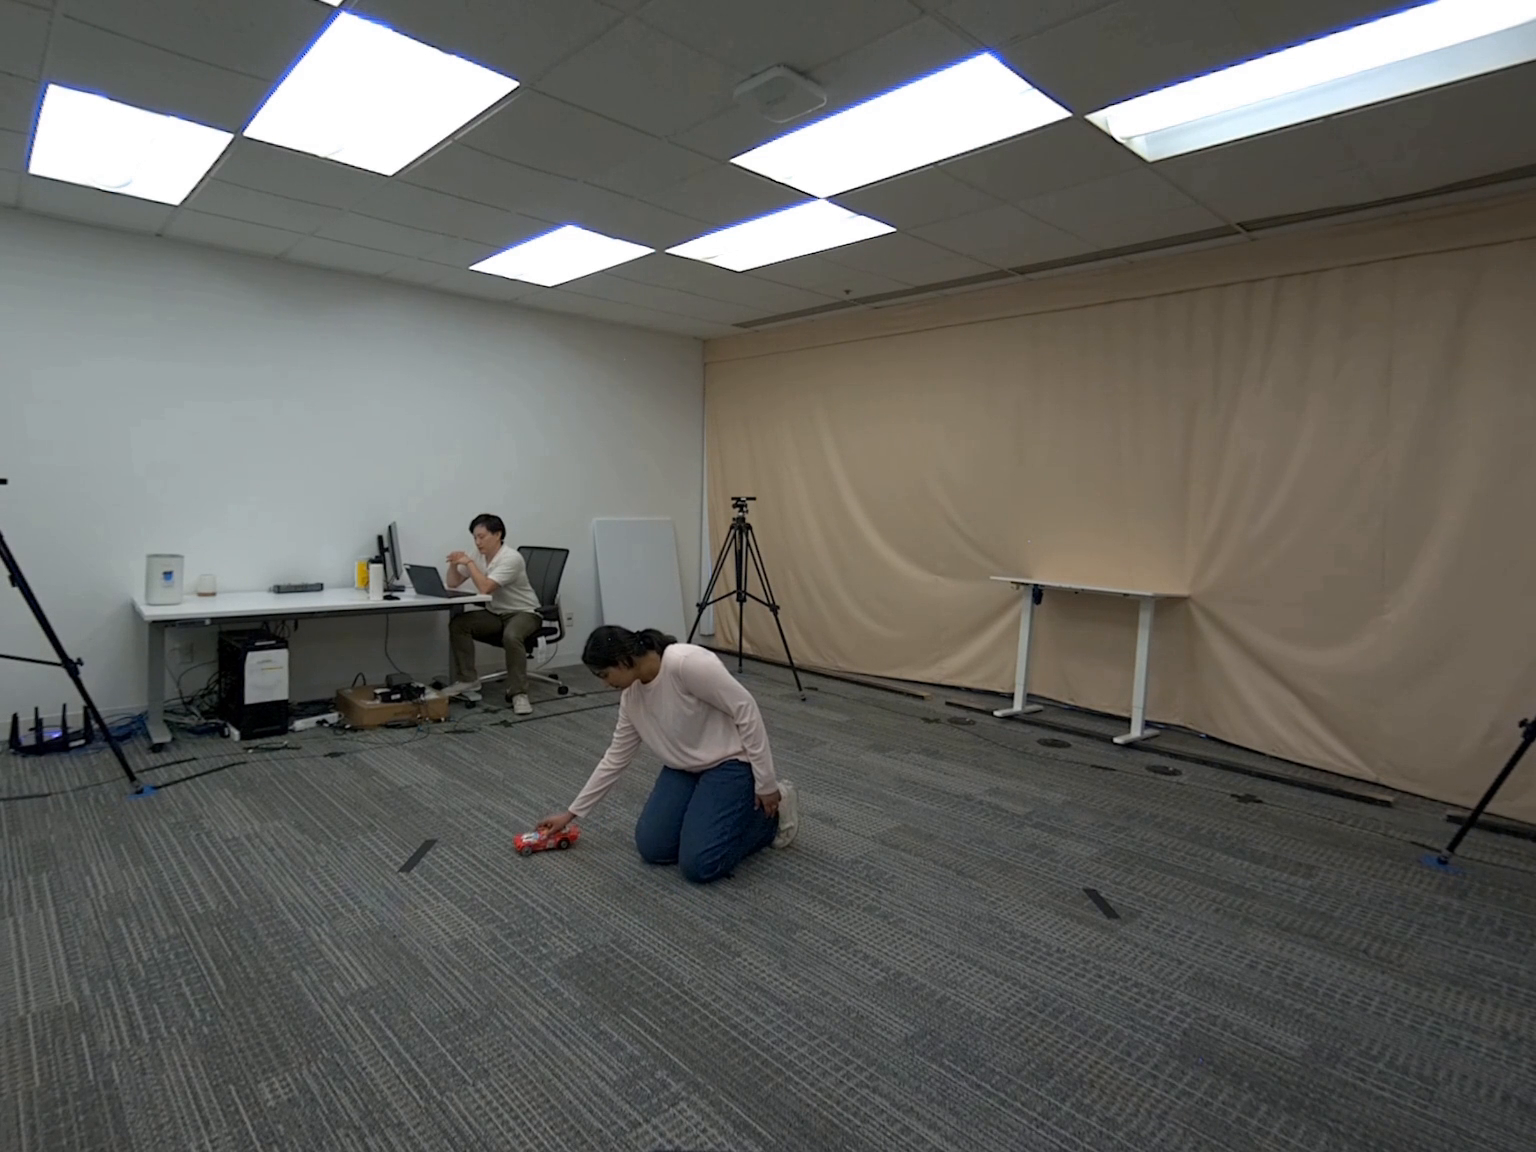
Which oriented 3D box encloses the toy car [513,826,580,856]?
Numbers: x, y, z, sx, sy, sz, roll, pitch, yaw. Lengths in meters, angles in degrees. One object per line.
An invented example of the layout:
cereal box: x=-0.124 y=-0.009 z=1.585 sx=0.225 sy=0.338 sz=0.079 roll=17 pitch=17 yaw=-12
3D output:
toy car: x=-0.872 y=1.032 z=3.326 sx=0.251 sy=0.082 sz=0.133 roll=-13 pitch=10 yaw=-25
